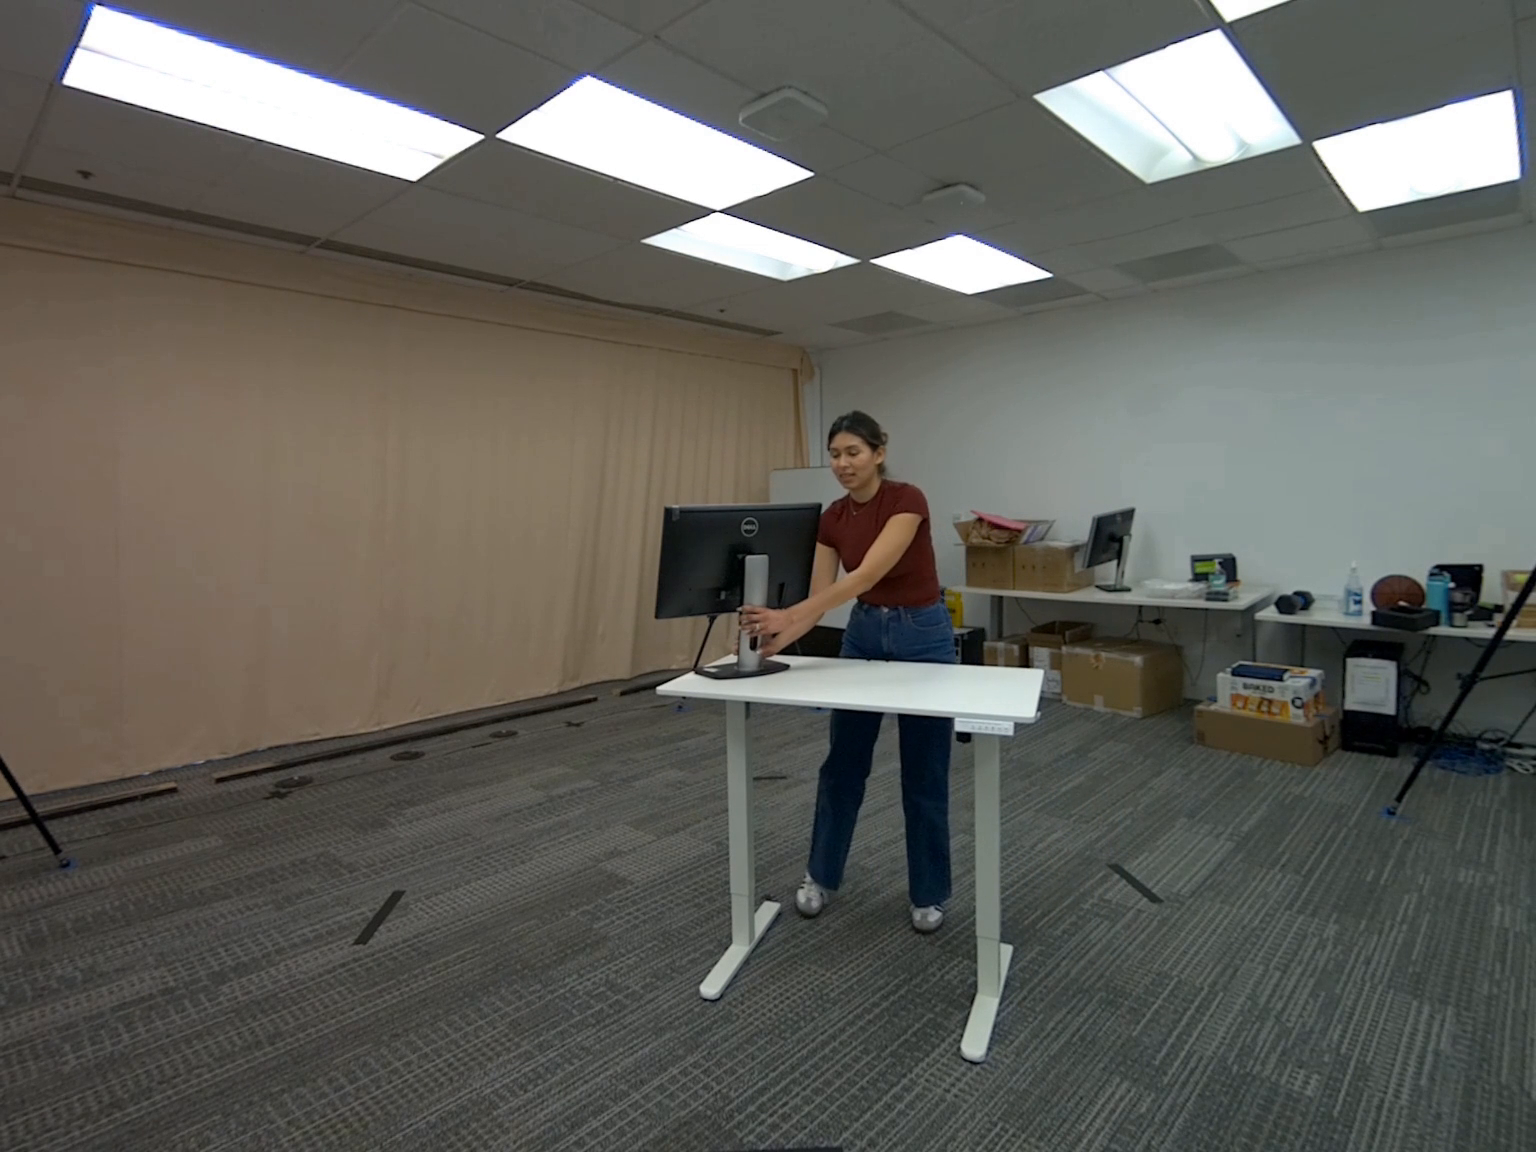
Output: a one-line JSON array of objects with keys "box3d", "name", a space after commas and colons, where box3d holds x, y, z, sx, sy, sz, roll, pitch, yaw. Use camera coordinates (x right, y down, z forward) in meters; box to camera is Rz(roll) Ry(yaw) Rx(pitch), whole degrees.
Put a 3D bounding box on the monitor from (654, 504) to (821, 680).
[{"box3d": [-0.070, 0.044, 2.566, 0.525, 0.520, 0.192, -3, 7, -27], "name": "monitor"}]
